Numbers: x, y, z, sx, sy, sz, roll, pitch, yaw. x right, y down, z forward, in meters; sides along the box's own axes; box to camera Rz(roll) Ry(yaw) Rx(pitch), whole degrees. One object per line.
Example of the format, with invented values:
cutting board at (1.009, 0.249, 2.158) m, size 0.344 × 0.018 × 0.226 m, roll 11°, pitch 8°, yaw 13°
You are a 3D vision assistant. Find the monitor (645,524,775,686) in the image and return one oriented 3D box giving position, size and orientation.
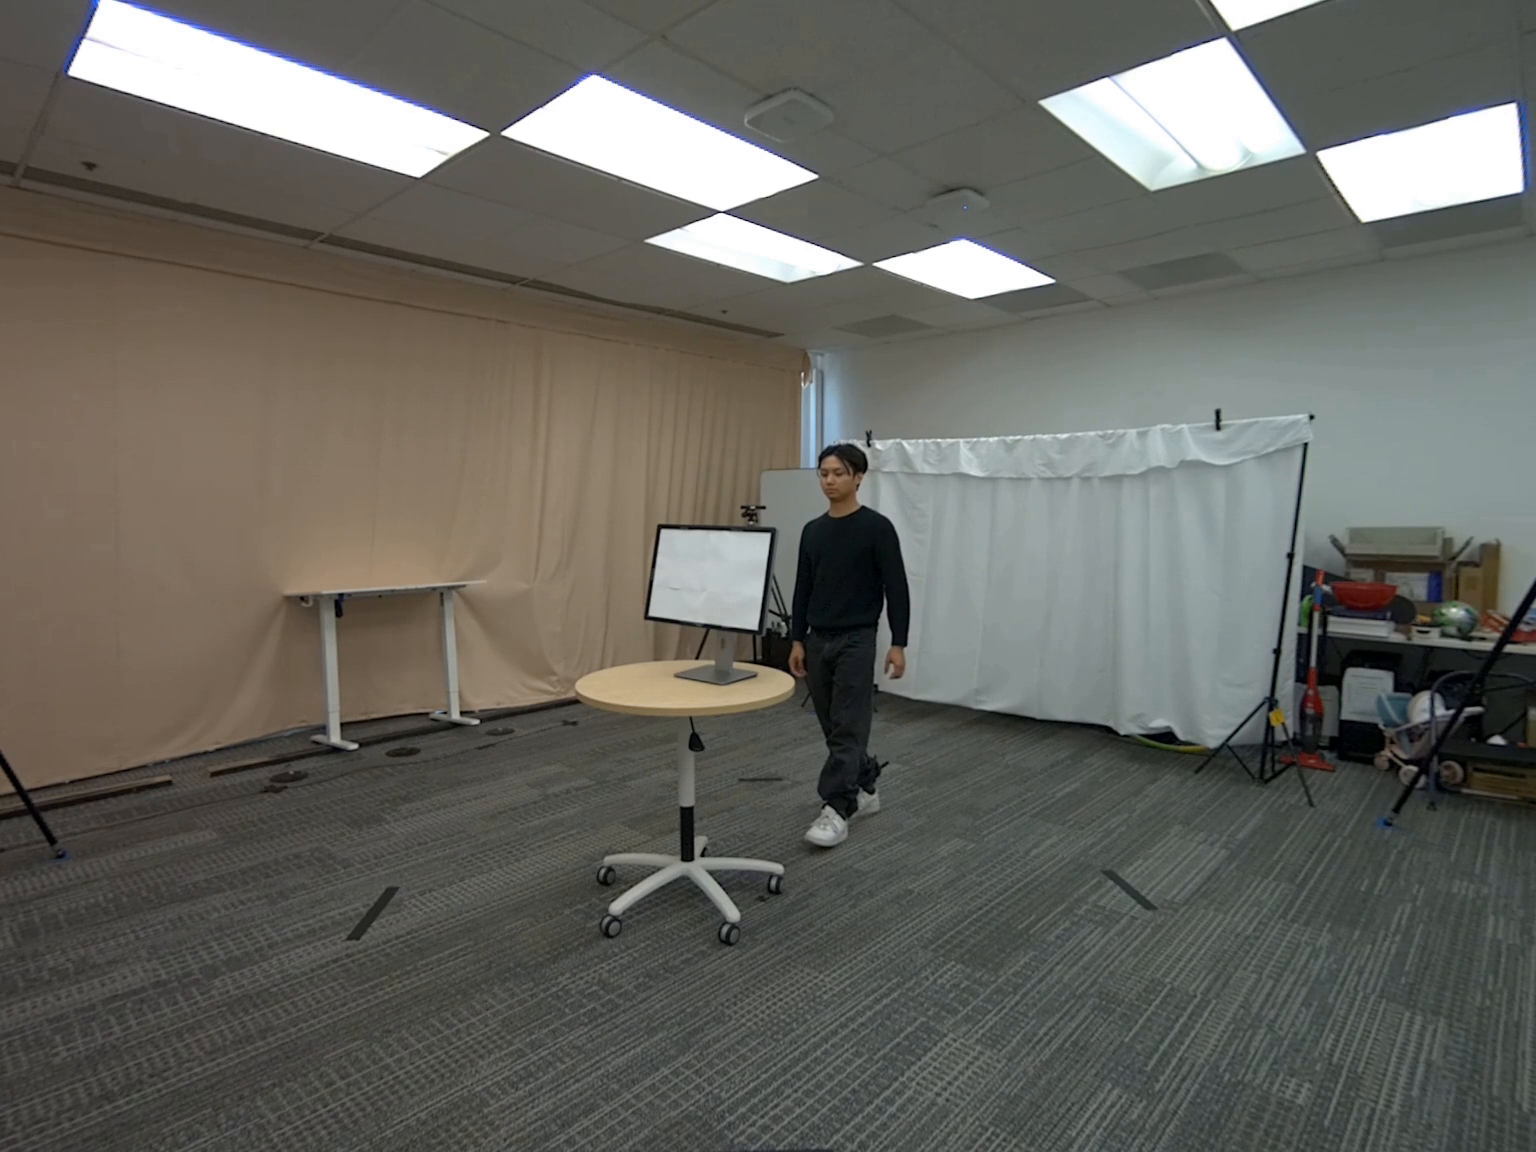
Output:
monitor at (-0.185, 0.096, 3.008) m, size 0.556 × 0.521 × 0.182 m, roll 3°, pitch 6°, yaw 37°
